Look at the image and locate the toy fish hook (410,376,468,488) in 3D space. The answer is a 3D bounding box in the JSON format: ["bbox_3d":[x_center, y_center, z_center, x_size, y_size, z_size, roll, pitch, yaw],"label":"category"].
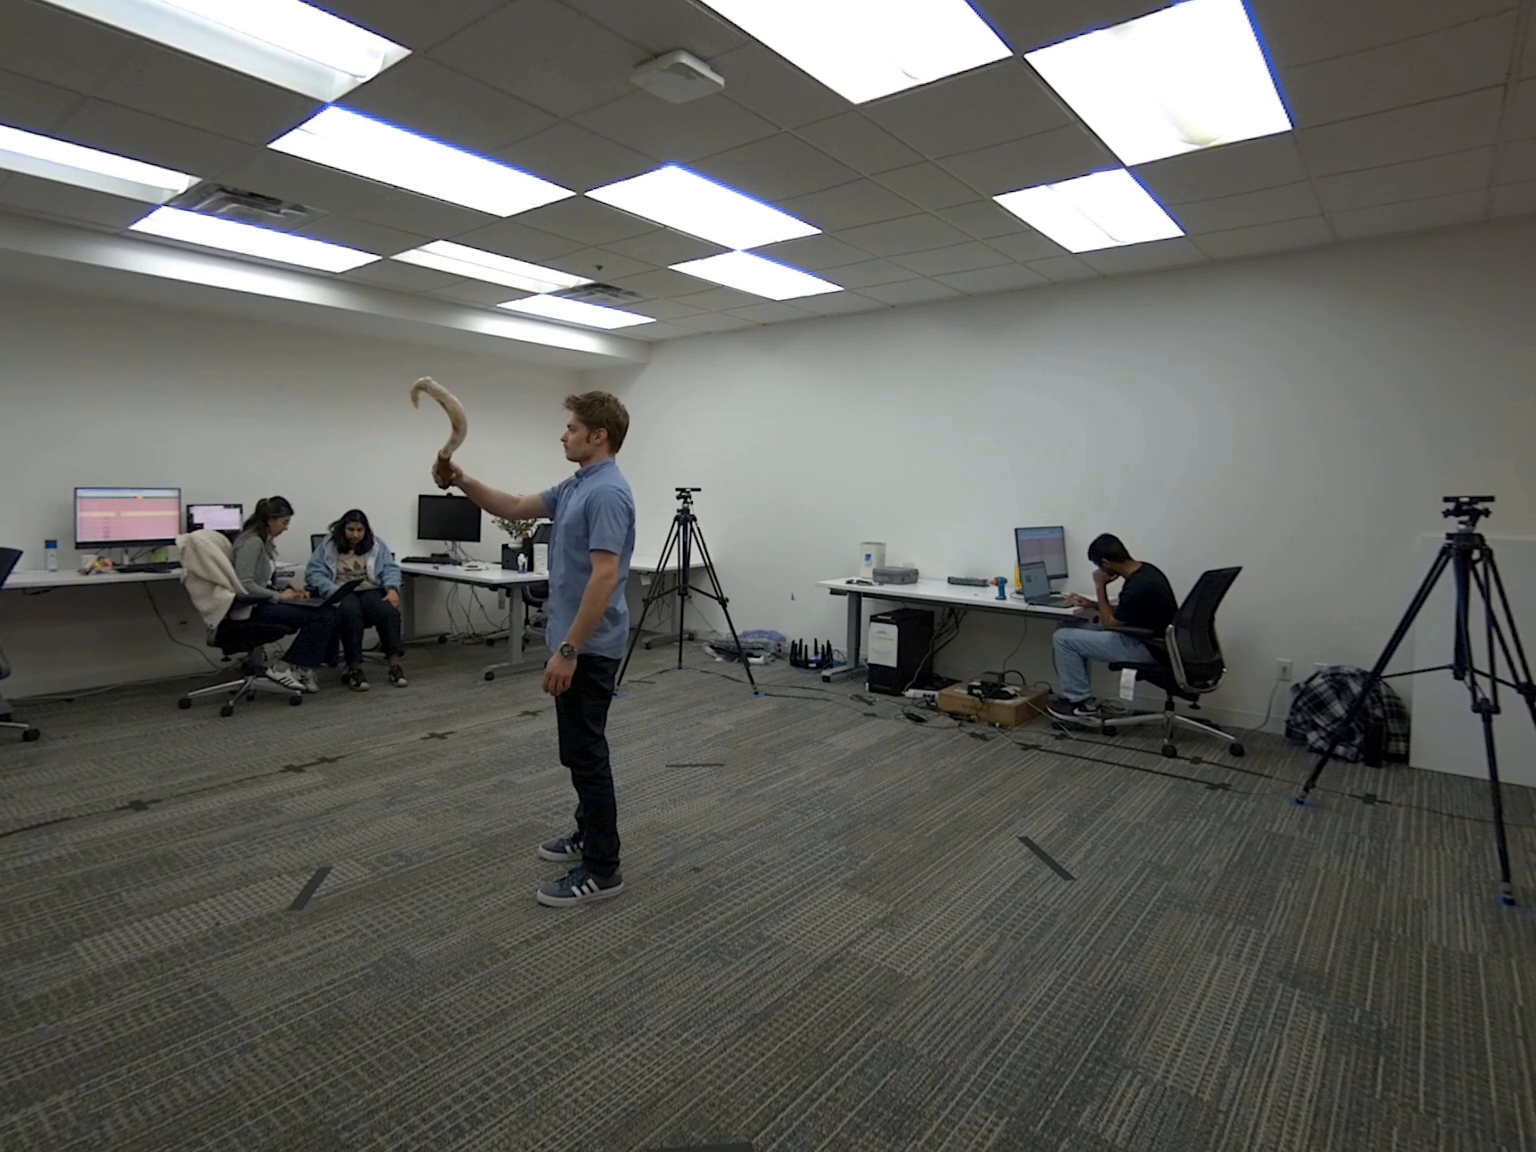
[{"bbox_3d":[-1.103,-0.432,2.719,0.048,0.226,0.504,-43,-6,-35],"label":"toy fish hook"}]
